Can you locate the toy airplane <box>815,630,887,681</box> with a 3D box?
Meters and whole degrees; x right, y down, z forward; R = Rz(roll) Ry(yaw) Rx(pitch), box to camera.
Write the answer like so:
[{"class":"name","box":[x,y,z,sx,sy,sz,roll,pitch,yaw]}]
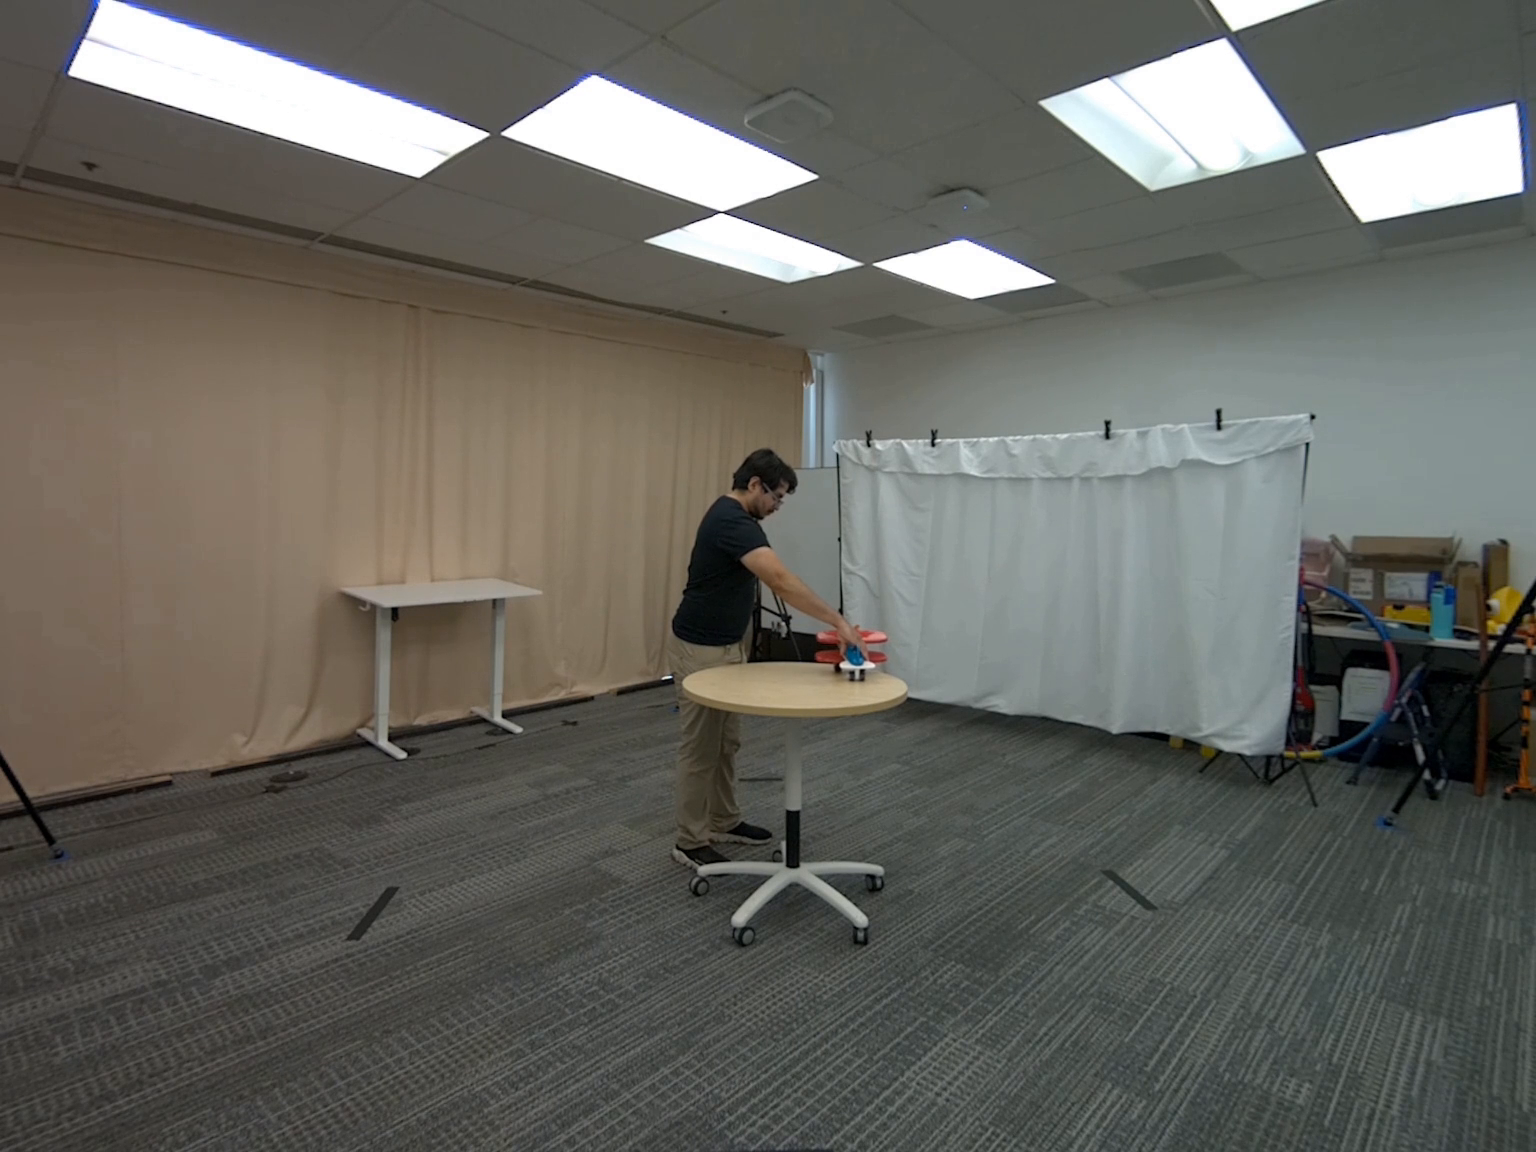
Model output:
[{"class":"toy airplane","box":[0.329,0.285,3.006,0.244,0.156,0.266,-1,3,-29]}]
